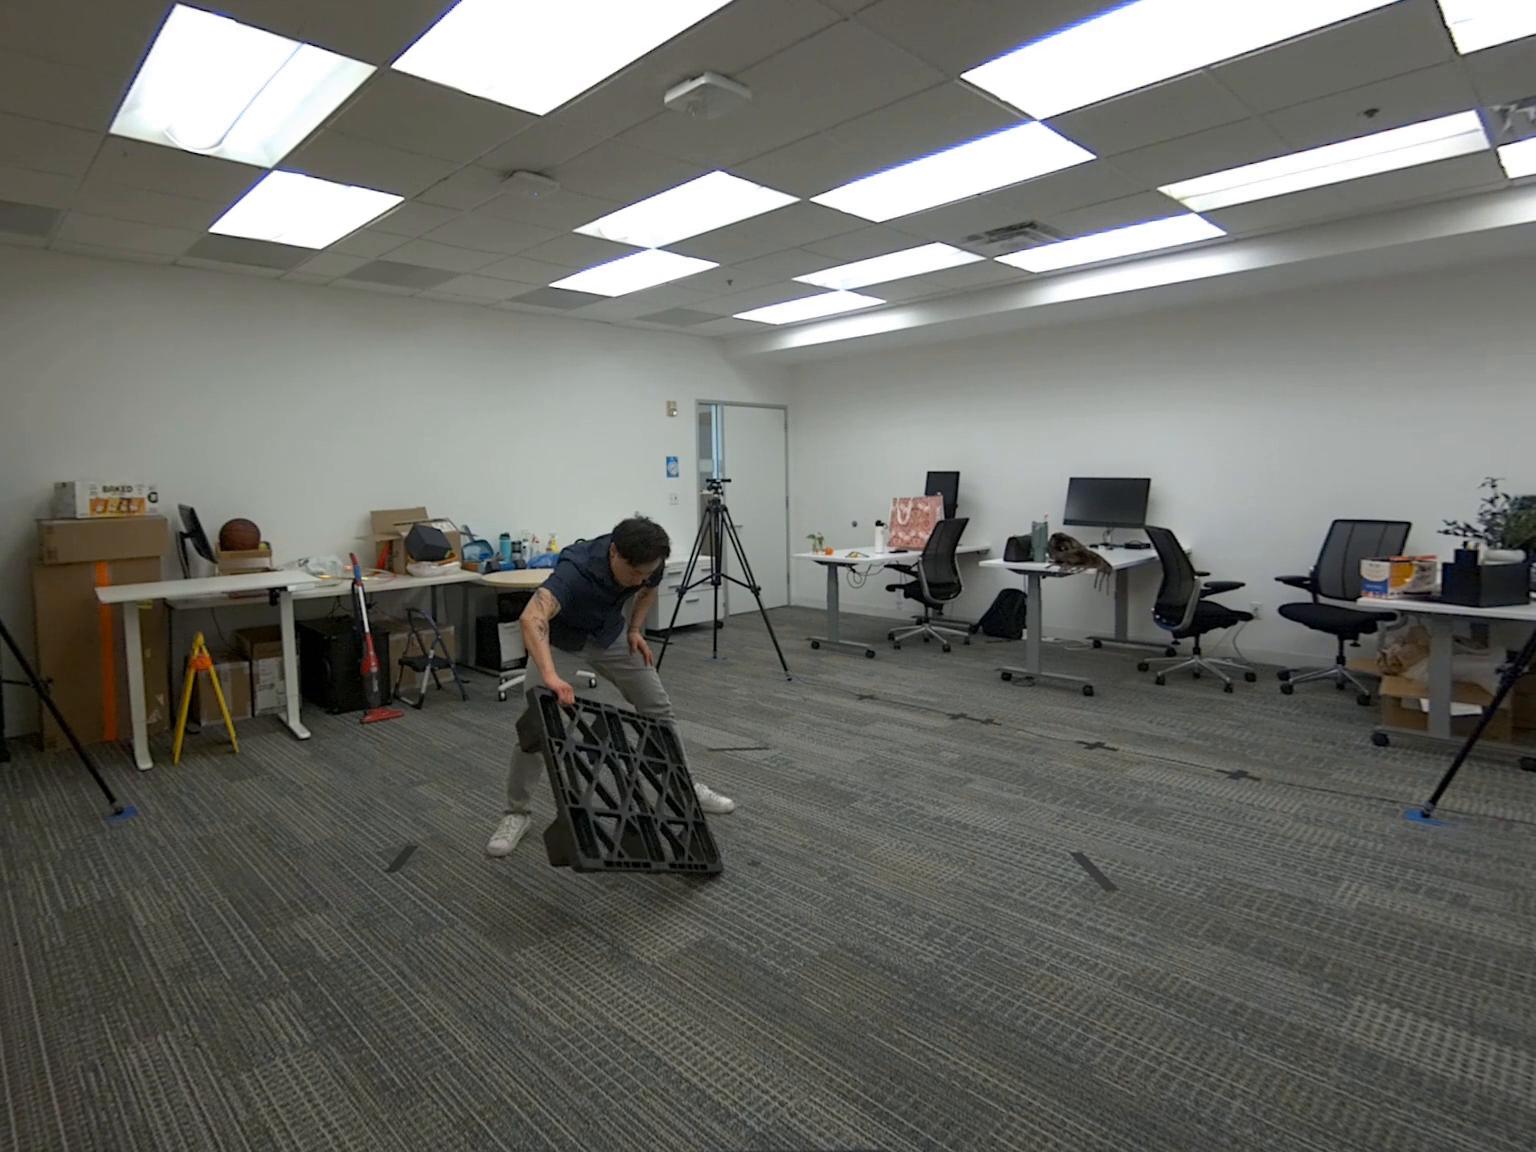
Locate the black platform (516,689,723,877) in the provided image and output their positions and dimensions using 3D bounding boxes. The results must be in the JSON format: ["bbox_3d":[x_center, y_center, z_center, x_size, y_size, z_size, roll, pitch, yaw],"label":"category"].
[{"bbox_3d":[-0.504,0.730,2.875,0.144,0.625,0.777,-35,-30,15],"label":"black platform"}]
